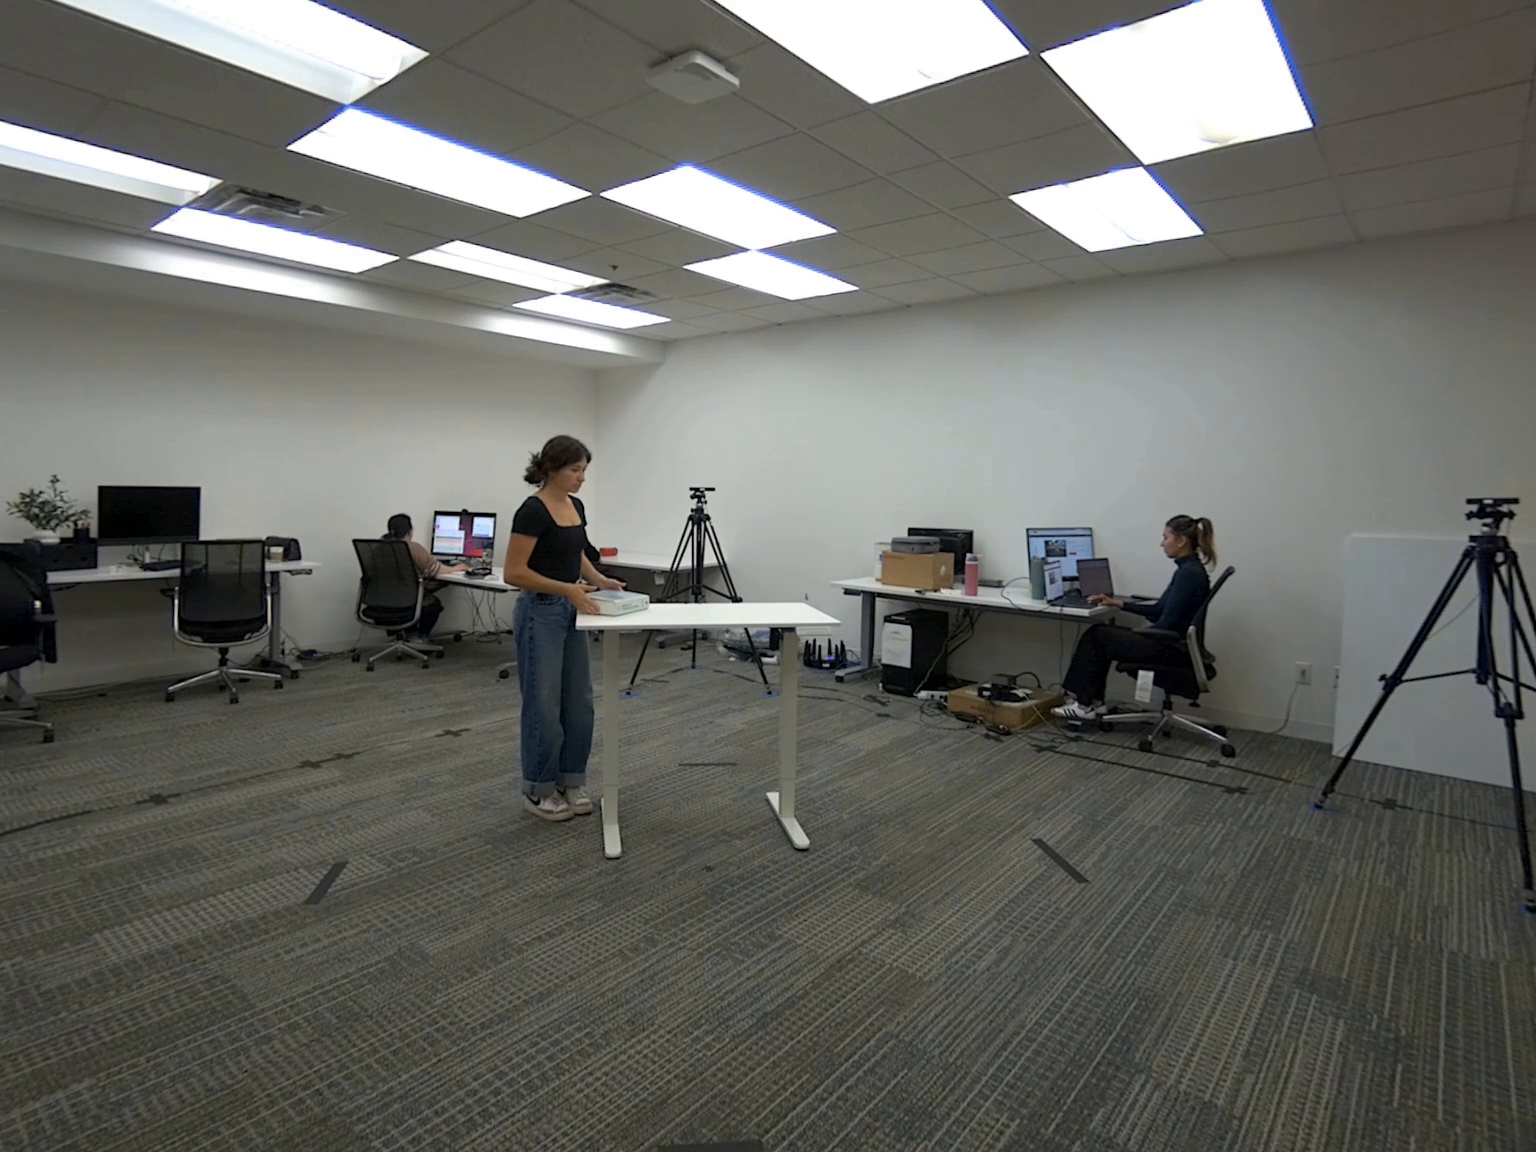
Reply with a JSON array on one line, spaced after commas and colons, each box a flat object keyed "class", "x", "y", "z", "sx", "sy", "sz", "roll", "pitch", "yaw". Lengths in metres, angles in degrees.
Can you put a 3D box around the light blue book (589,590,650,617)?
[{"class": "light blue book", "x": -0.649, "y": 0.111, "z": 3.504, "sx": 0.196, "sy": 0.059, "sz": 0.255, "roll": 6, "pitch": 6, "yaw": 24}]
